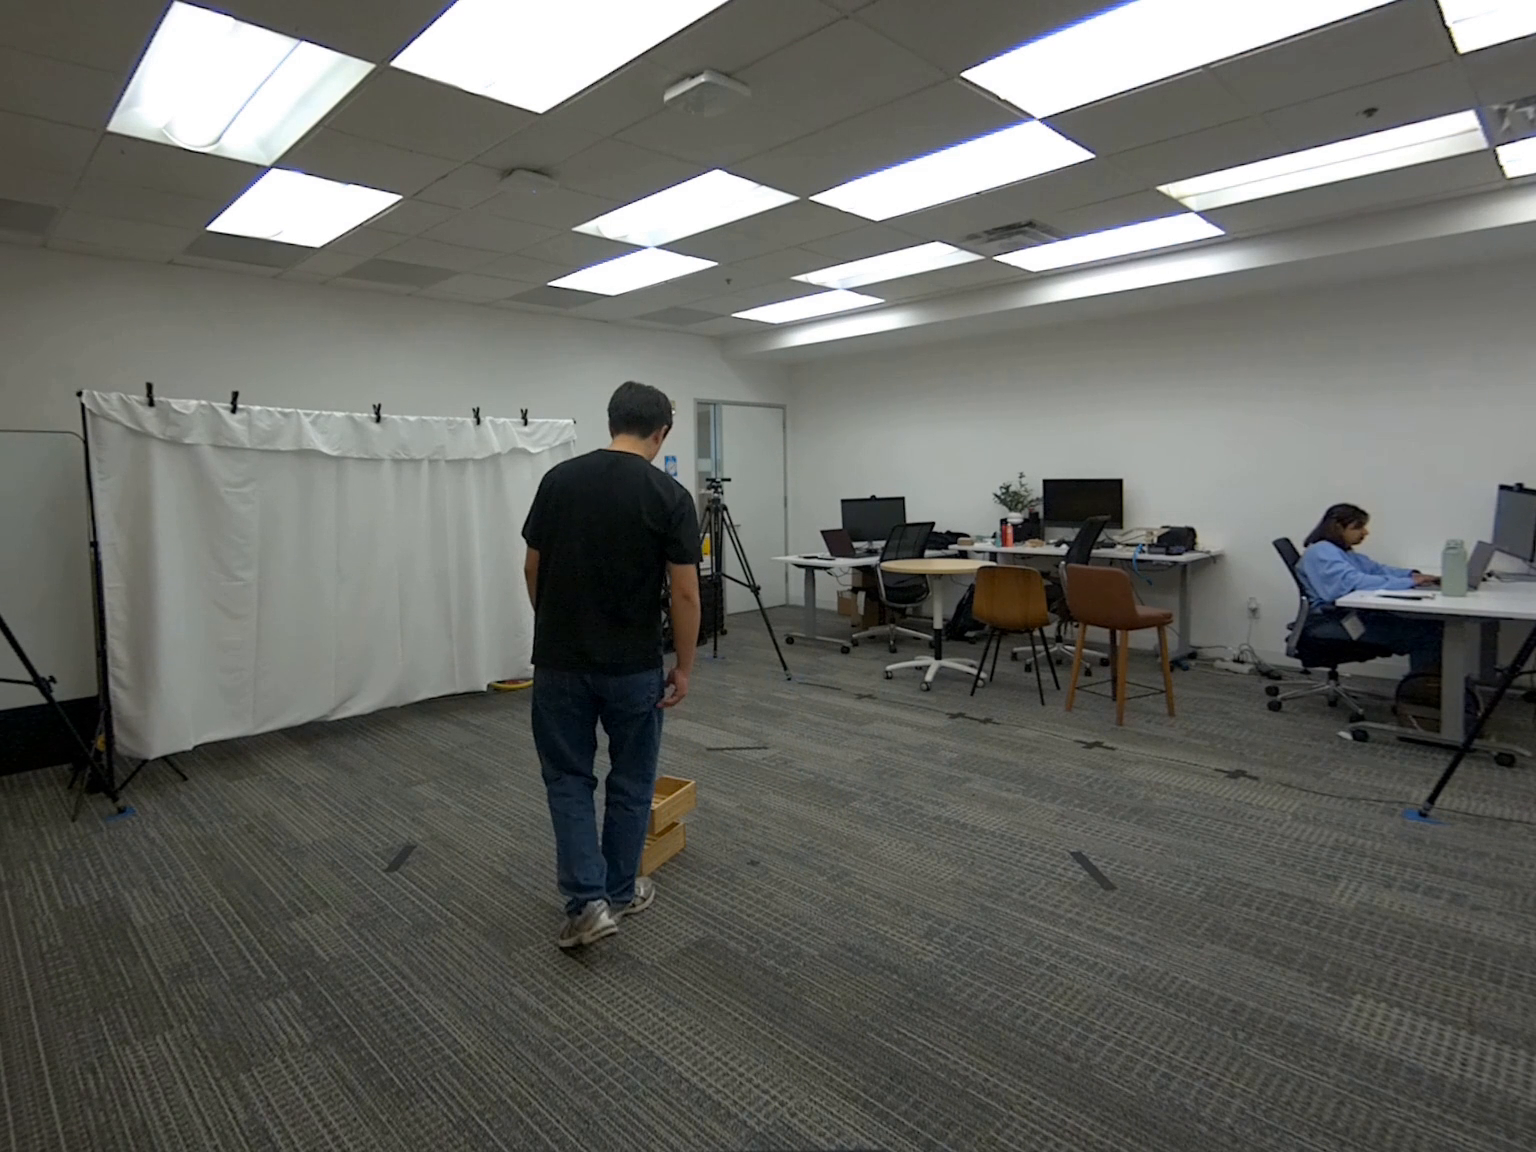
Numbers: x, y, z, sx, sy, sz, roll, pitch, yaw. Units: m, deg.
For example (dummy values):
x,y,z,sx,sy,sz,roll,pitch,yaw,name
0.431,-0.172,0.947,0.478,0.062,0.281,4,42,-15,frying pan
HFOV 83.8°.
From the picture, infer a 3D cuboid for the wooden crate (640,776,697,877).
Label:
x,y,z,sx,sy,sz,roll,pitch,yaw,name
-0.467,0.906,3.156,0.309,0.272,0.318,3,6,26,wooden crate
